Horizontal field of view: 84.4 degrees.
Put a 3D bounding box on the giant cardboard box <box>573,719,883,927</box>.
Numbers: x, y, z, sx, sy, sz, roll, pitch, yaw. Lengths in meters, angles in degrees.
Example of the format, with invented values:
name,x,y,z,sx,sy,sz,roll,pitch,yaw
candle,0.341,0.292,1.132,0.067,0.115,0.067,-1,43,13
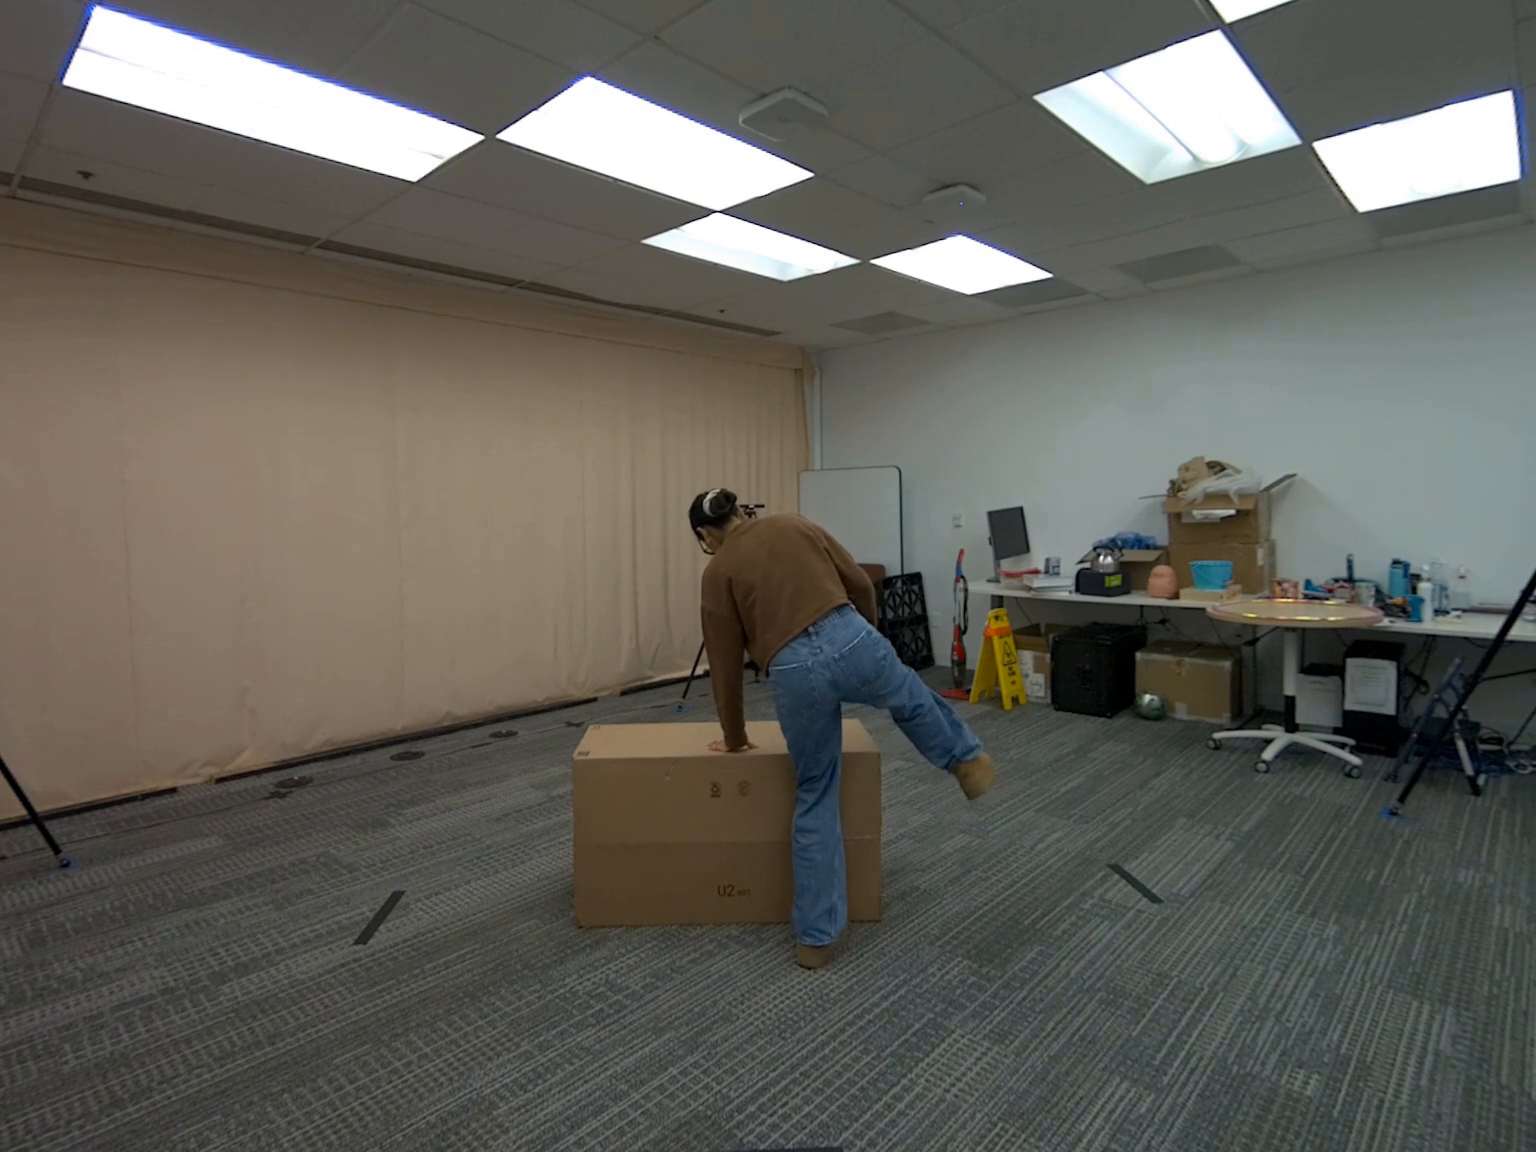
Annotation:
name,x,y,z,sx,sy,sz,roll,pitch,yaw
giant cardboard box,-0.150,0.858,3.000,1.028,0.582,0.448,-1,5,0
